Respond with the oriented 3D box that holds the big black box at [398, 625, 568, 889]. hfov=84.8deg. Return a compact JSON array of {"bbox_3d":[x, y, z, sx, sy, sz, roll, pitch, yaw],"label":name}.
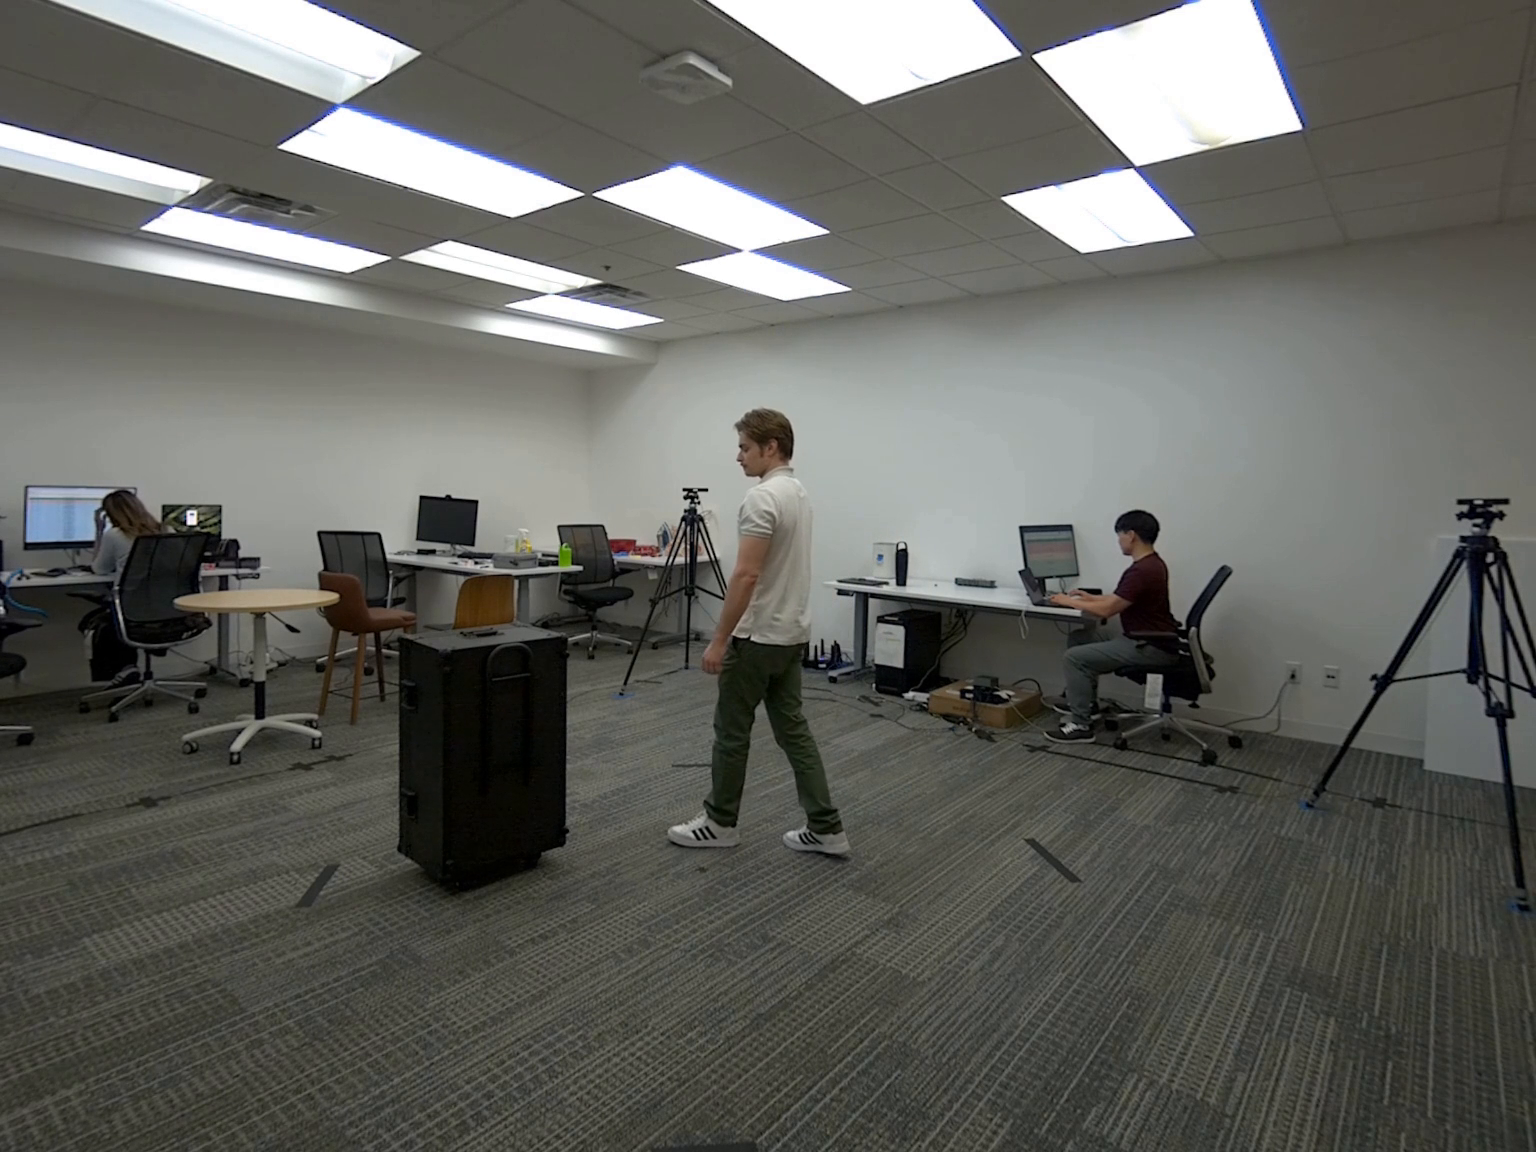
[{"bbox_3d":[-1.033,0.642,3.075,0.398,0.866,0.507,5,5,44],"label":"big black box"}]
